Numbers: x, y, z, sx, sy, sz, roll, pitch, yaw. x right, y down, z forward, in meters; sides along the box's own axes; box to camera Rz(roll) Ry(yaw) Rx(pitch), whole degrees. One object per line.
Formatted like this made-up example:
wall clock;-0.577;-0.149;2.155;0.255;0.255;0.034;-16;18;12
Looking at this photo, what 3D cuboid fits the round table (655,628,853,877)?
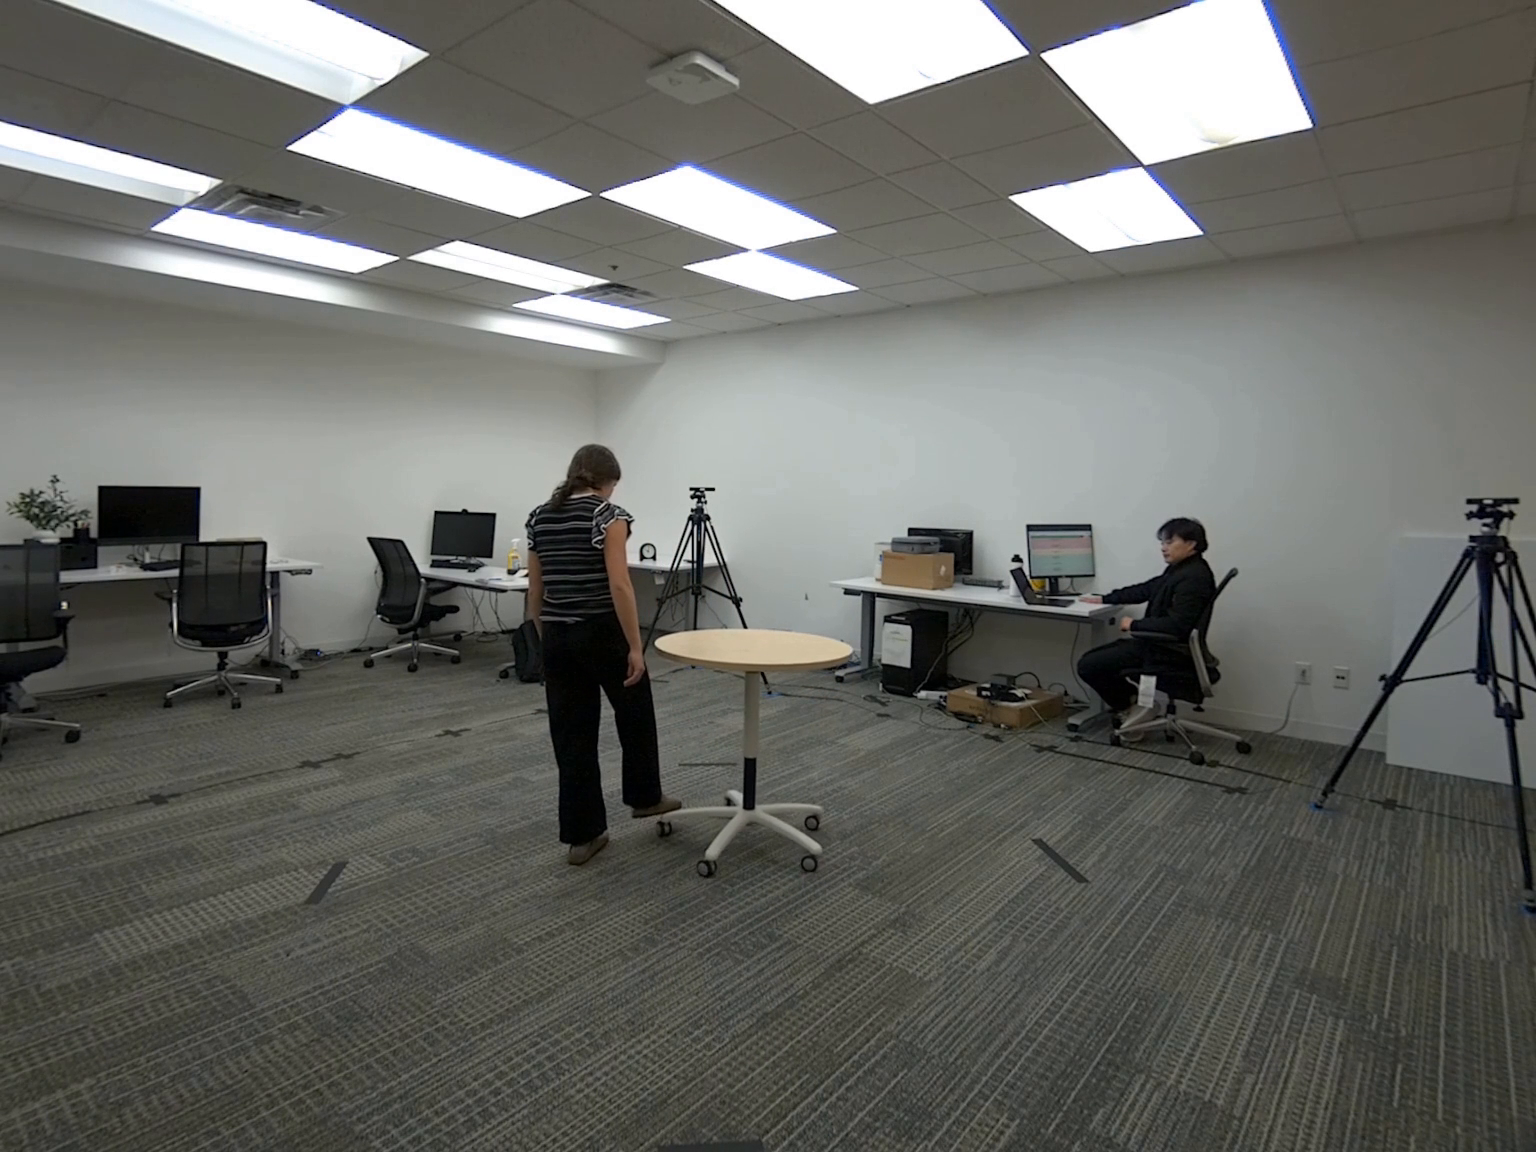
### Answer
round table;-0.090;0.654;3.317;0.784;0.784;0.789;1;4;-2
